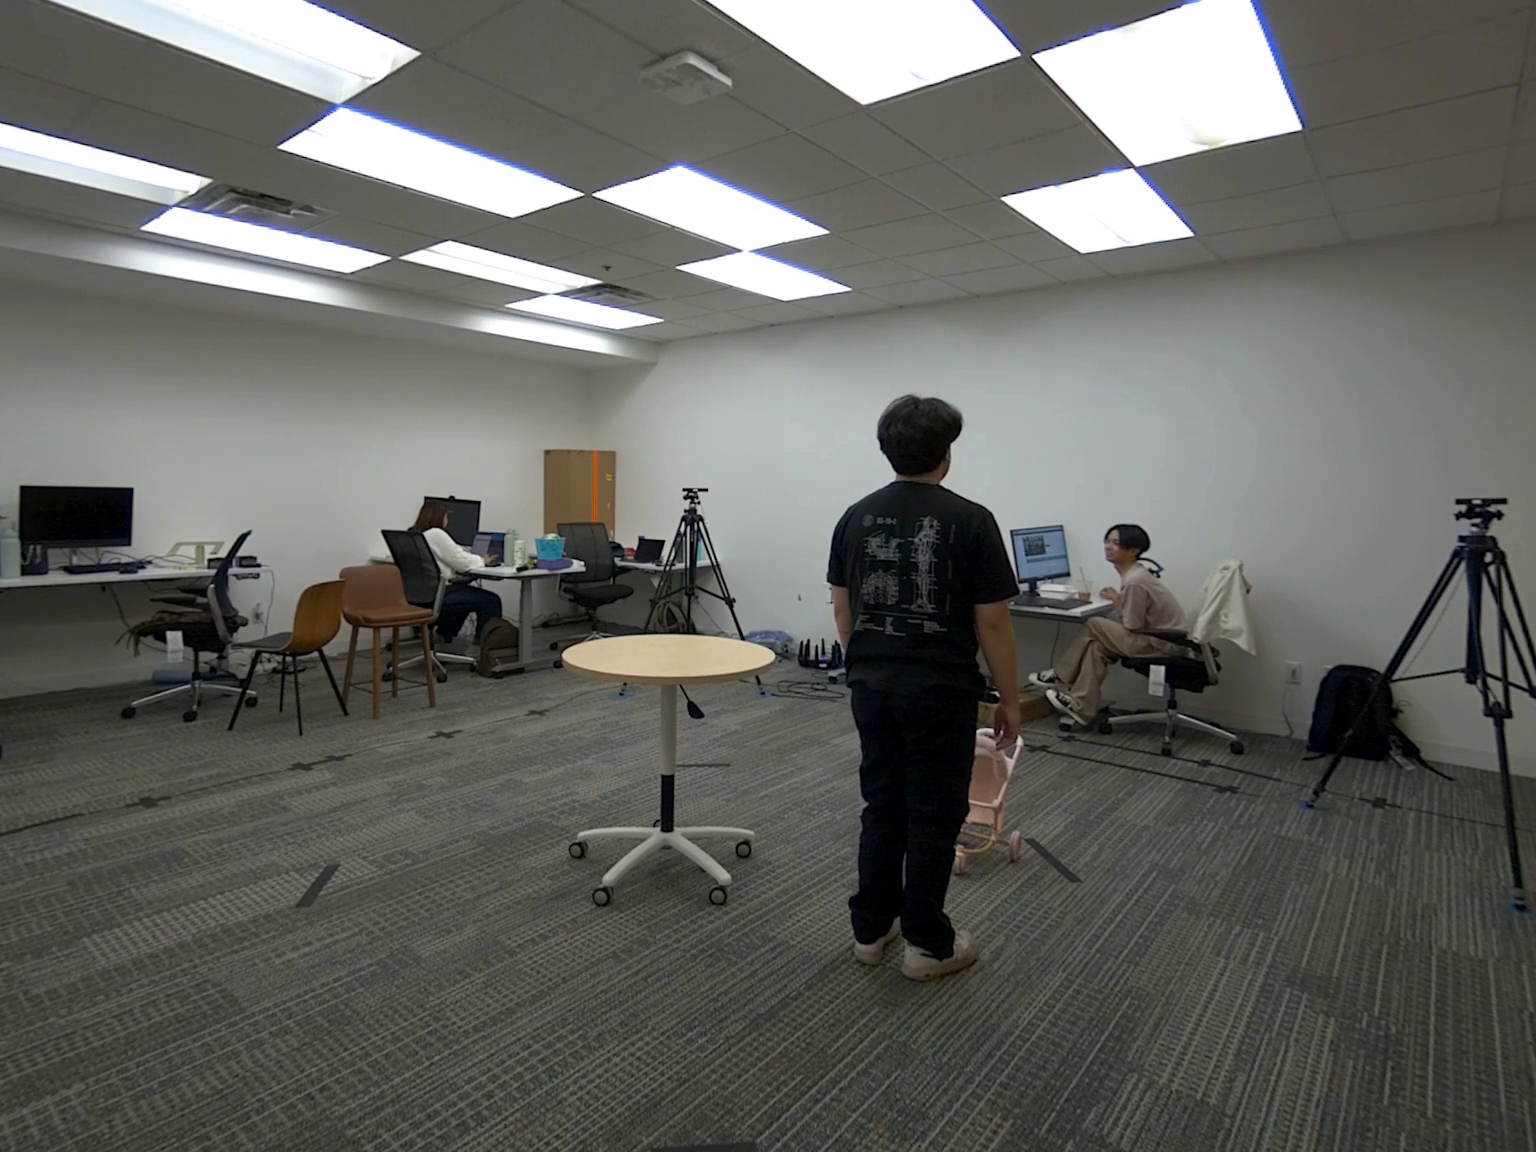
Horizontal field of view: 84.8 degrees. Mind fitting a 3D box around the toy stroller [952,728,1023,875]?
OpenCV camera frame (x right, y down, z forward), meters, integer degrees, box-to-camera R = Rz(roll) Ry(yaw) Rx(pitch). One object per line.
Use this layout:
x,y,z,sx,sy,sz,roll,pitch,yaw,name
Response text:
0.803,0.853,3.269,0.291,0.538,0.328,5,-9,38,toy stroller
